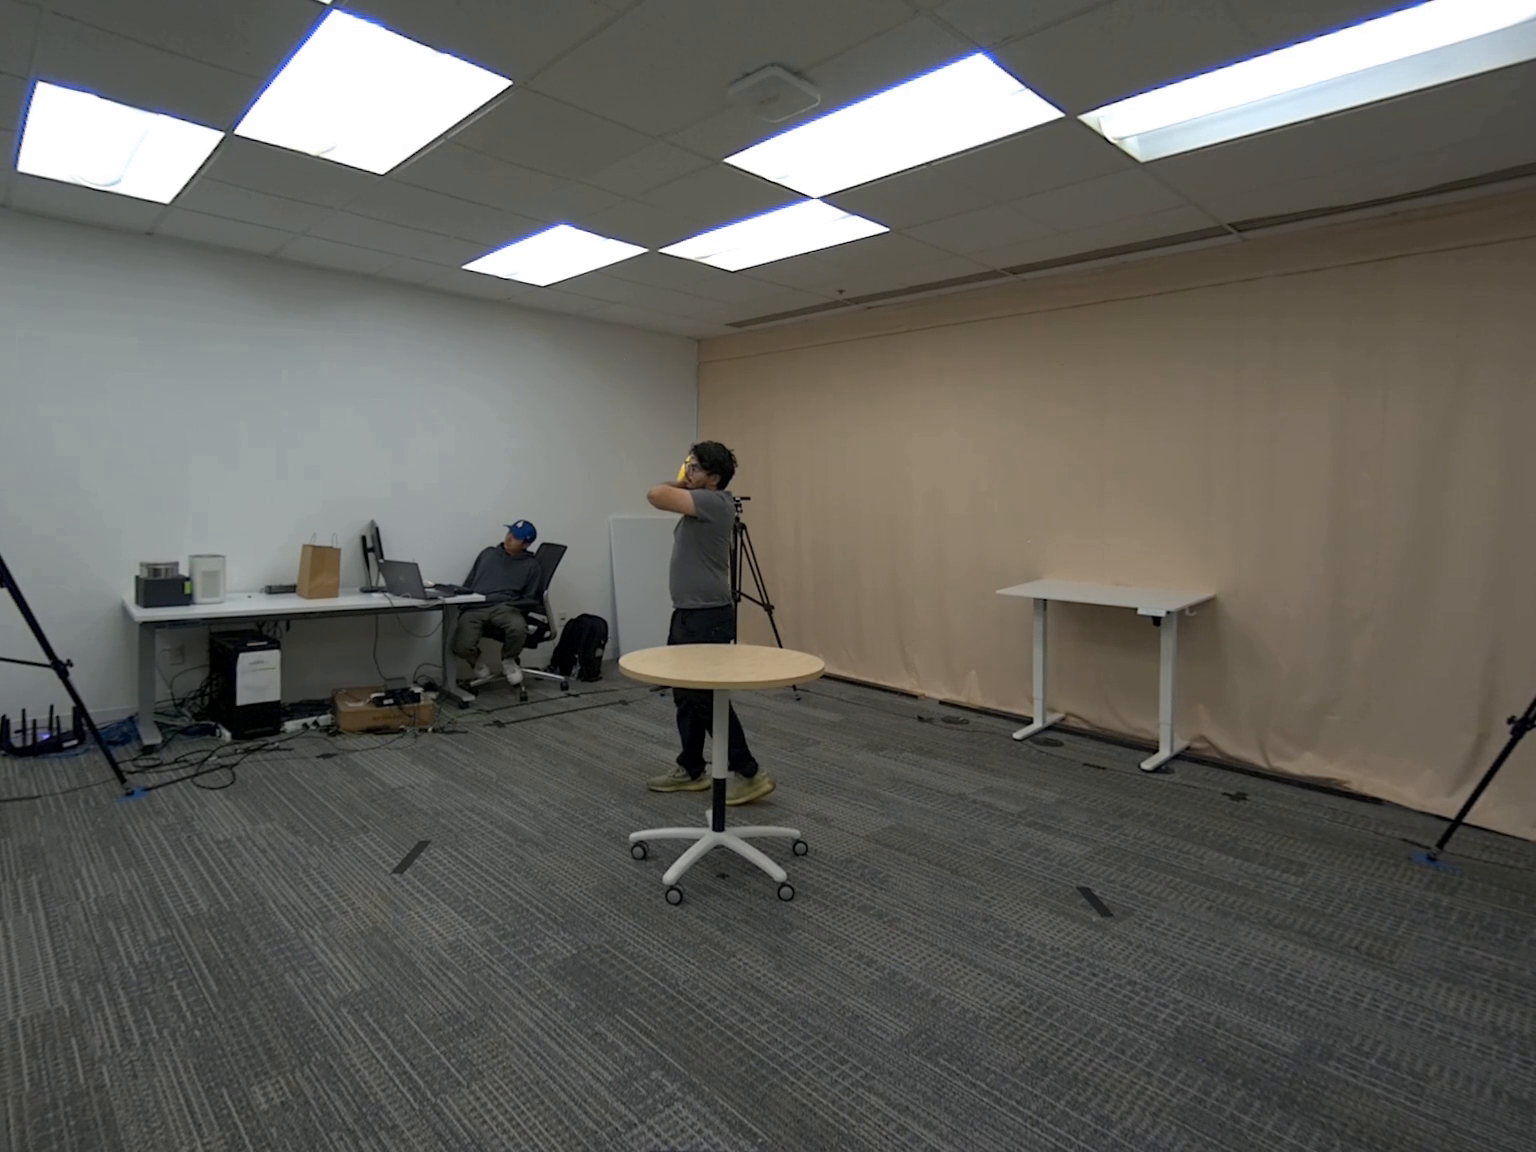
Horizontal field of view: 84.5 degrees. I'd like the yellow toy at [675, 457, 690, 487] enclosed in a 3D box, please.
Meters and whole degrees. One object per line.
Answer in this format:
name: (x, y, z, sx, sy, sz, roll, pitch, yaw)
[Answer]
yellow toy: (-0.384, -0.492, 4.071, 0.192, 0.228, 0.207, -13, 11, -5)
